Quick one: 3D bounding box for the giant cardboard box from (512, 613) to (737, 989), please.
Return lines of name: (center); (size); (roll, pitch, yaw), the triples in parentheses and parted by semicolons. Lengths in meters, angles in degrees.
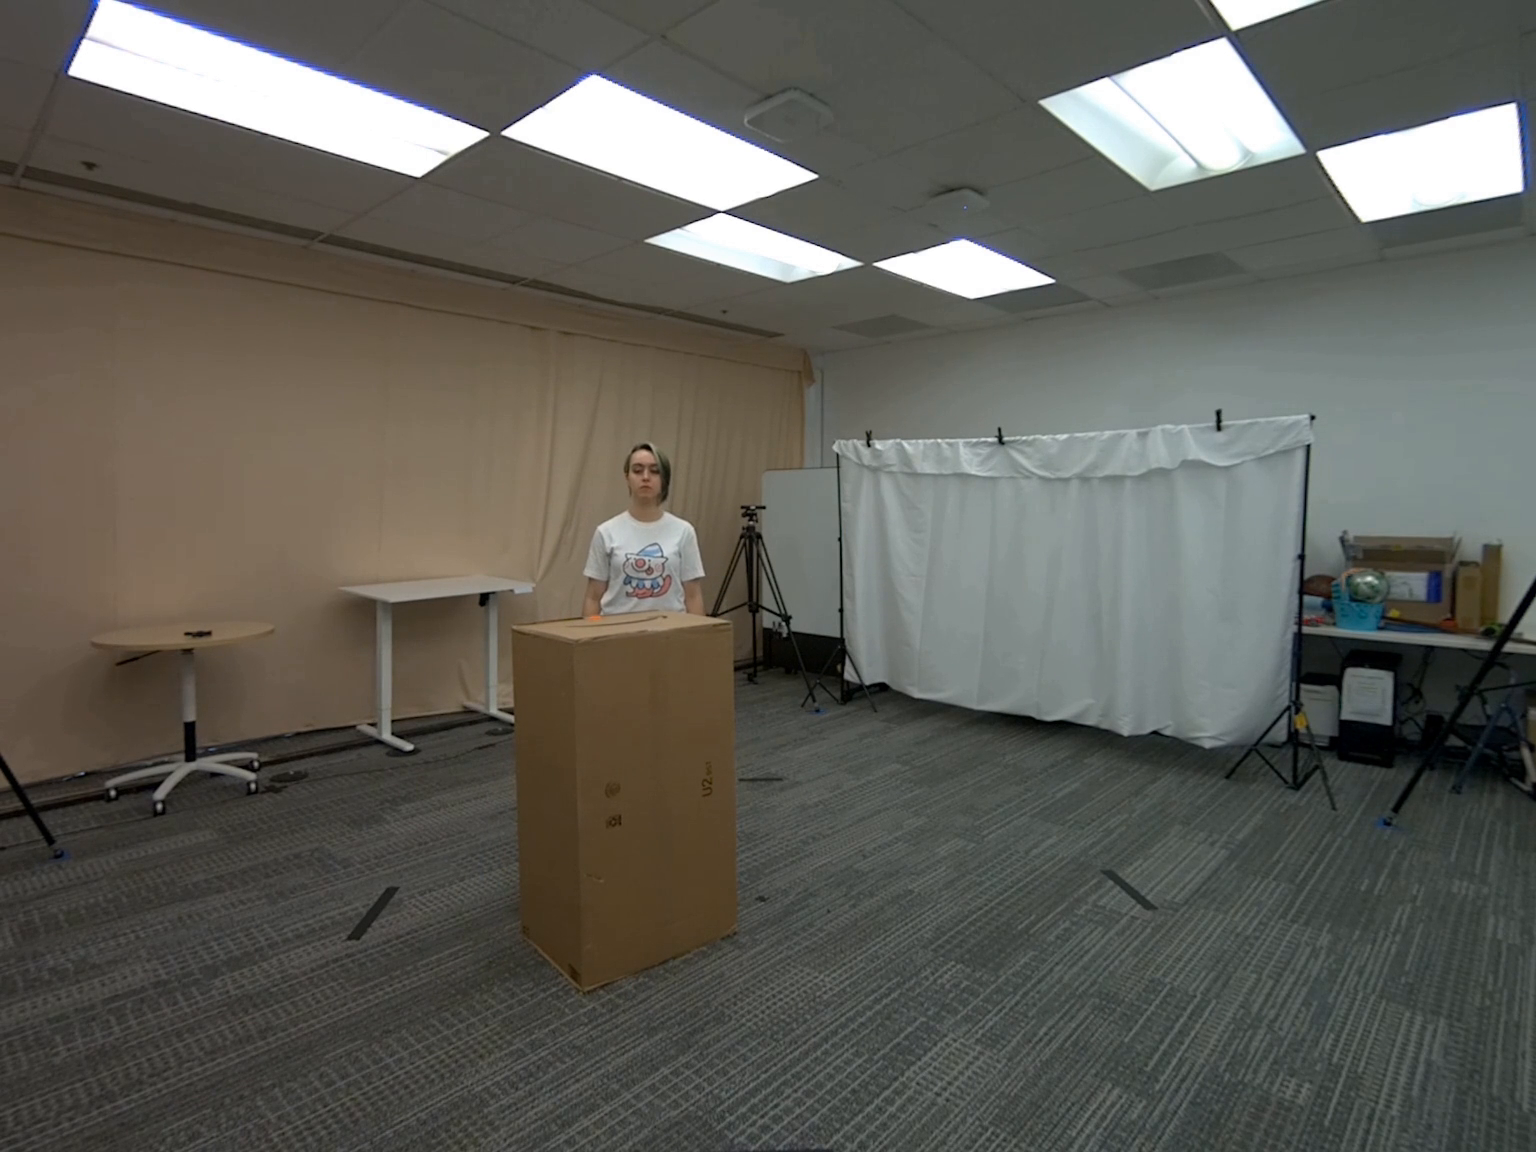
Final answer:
giant cardboard box: (-0.454, 0.665, 2.716); (0.566, 1.024, 0.461); (-4, 5, -40)
